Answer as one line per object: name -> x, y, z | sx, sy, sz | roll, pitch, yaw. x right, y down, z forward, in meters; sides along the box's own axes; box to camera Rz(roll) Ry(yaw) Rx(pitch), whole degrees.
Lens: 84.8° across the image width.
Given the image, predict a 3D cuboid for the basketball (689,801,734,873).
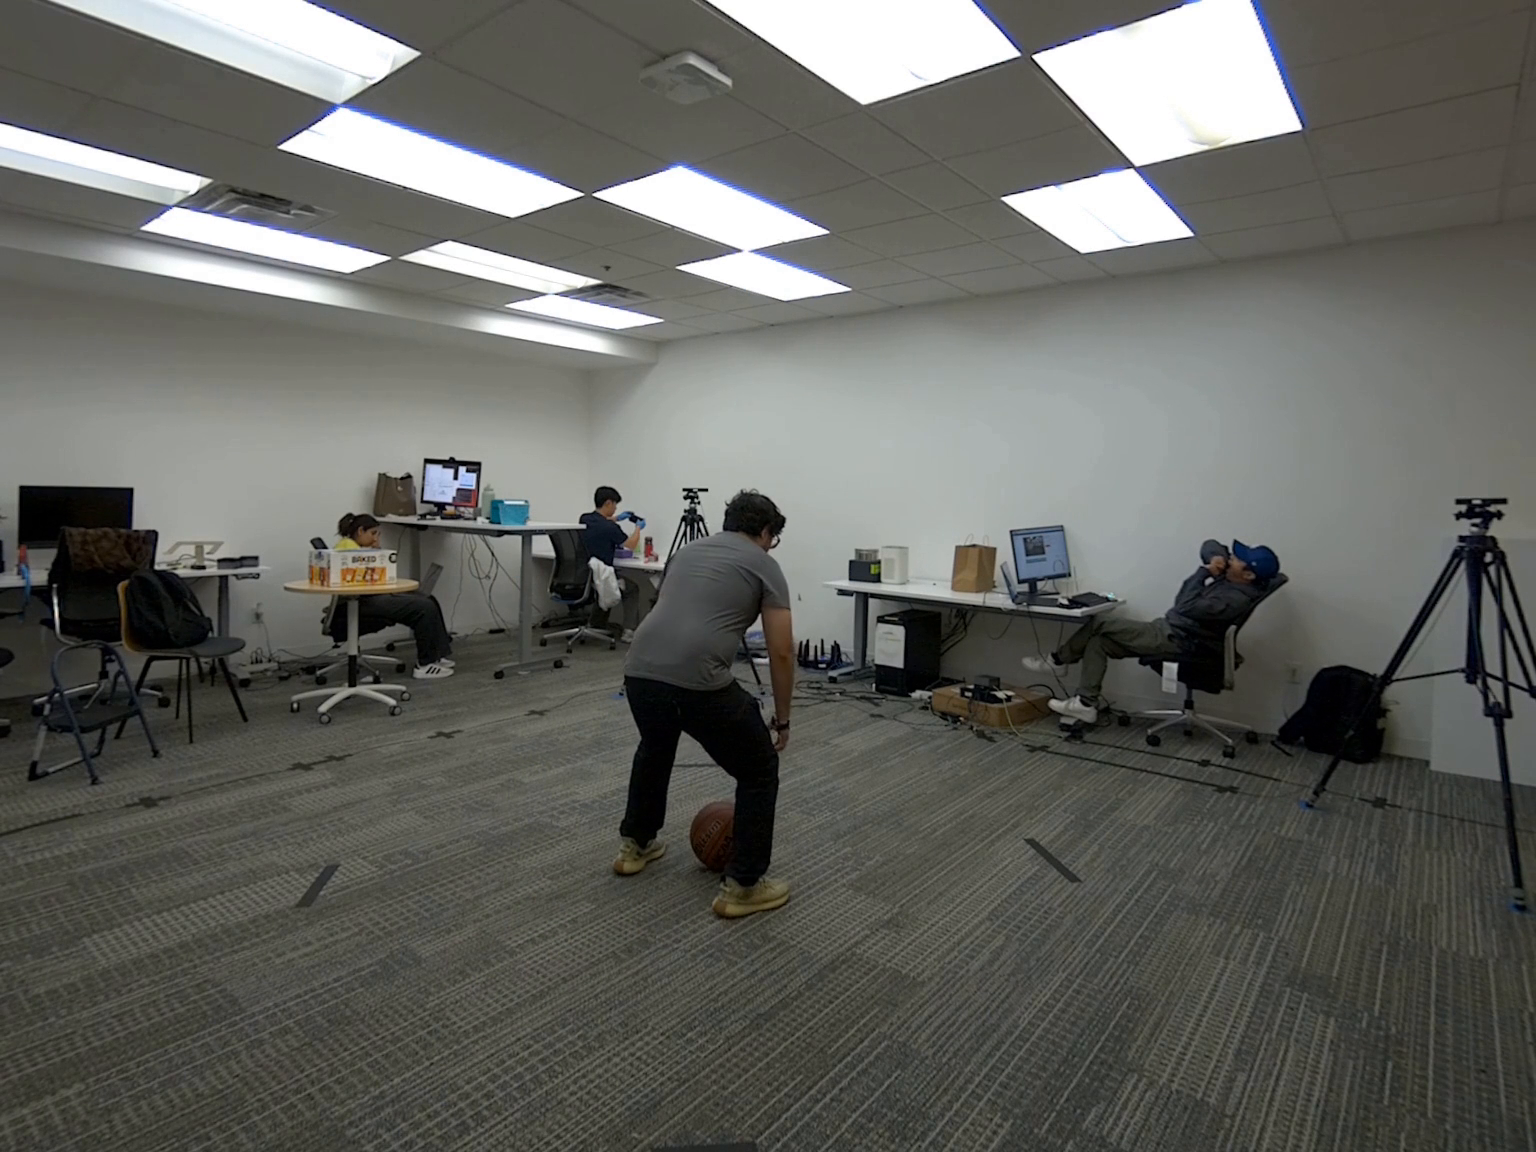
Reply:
basketball -> -0.177, 0.950, 3.121 | 0.235, 0.235, 0.237 | 1, 4, -2
